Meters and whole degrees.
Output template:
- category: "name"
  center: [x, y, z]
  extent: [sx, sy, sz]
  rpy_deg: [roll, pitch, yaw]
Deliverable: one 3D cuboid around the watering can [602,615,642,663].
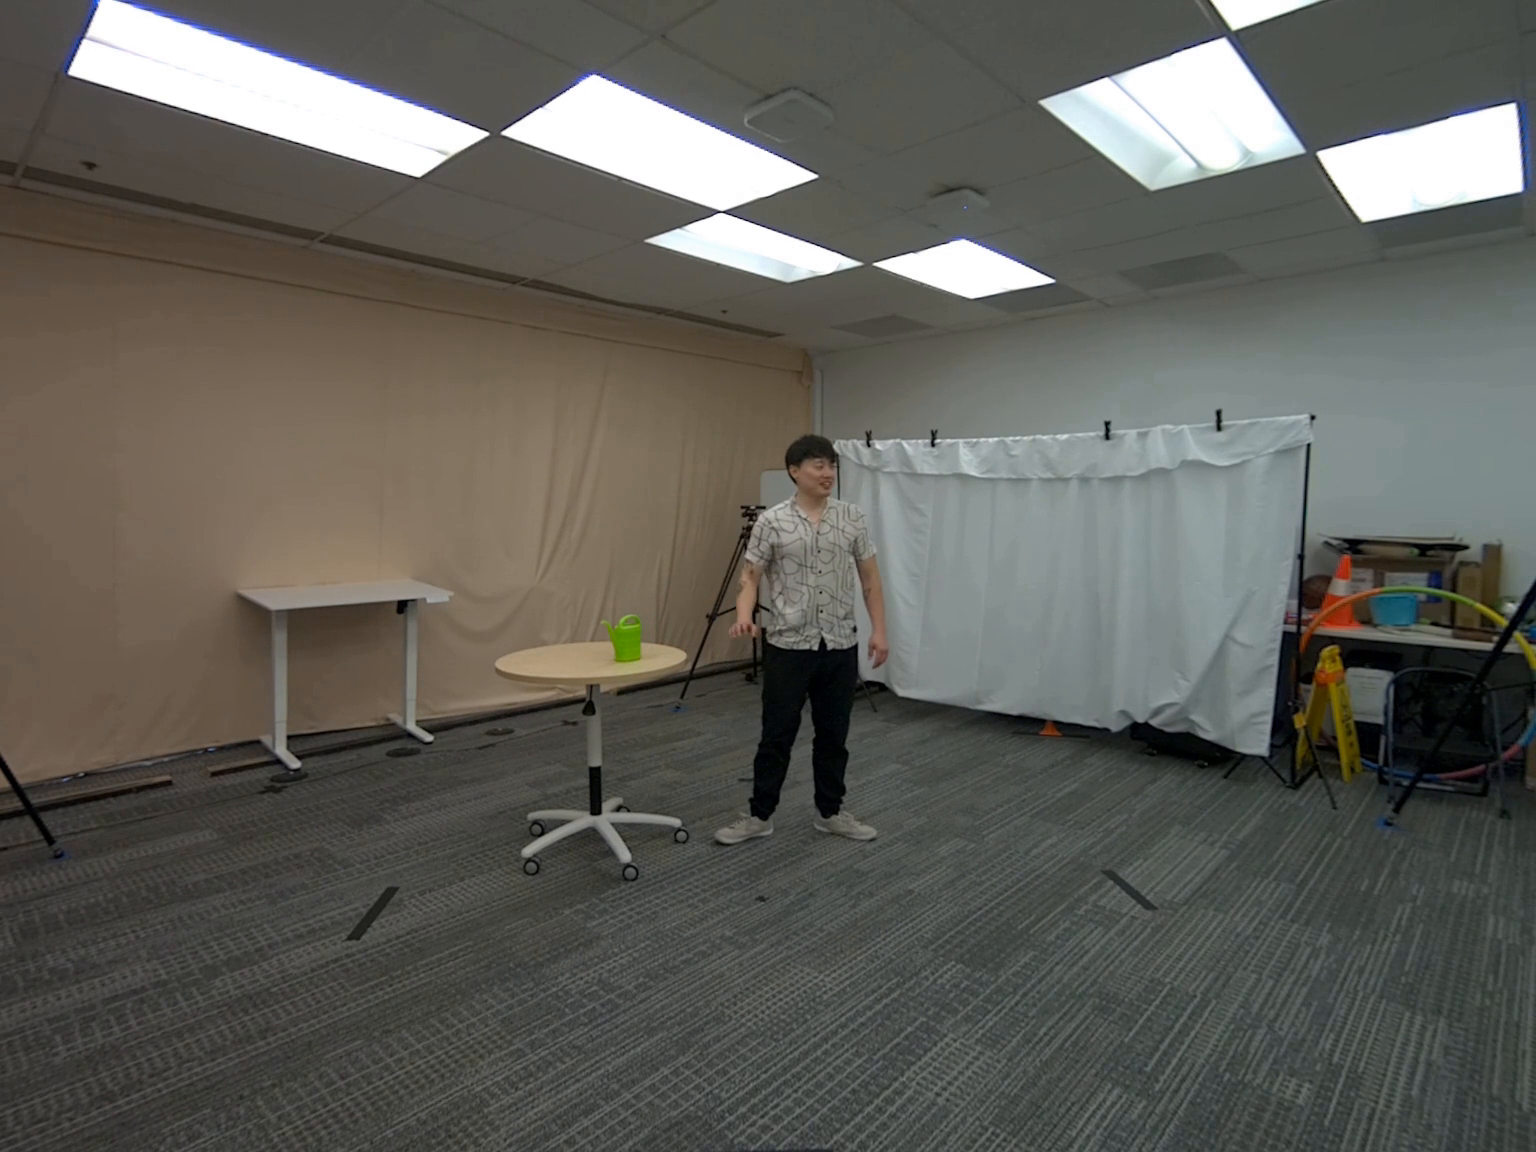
- category: "watering can"
  center: [-0.590, 0.250, 3.334]
  extent: [0.101, 0.176, 0.270]
  rpy_deg: [2, 3, 32]
